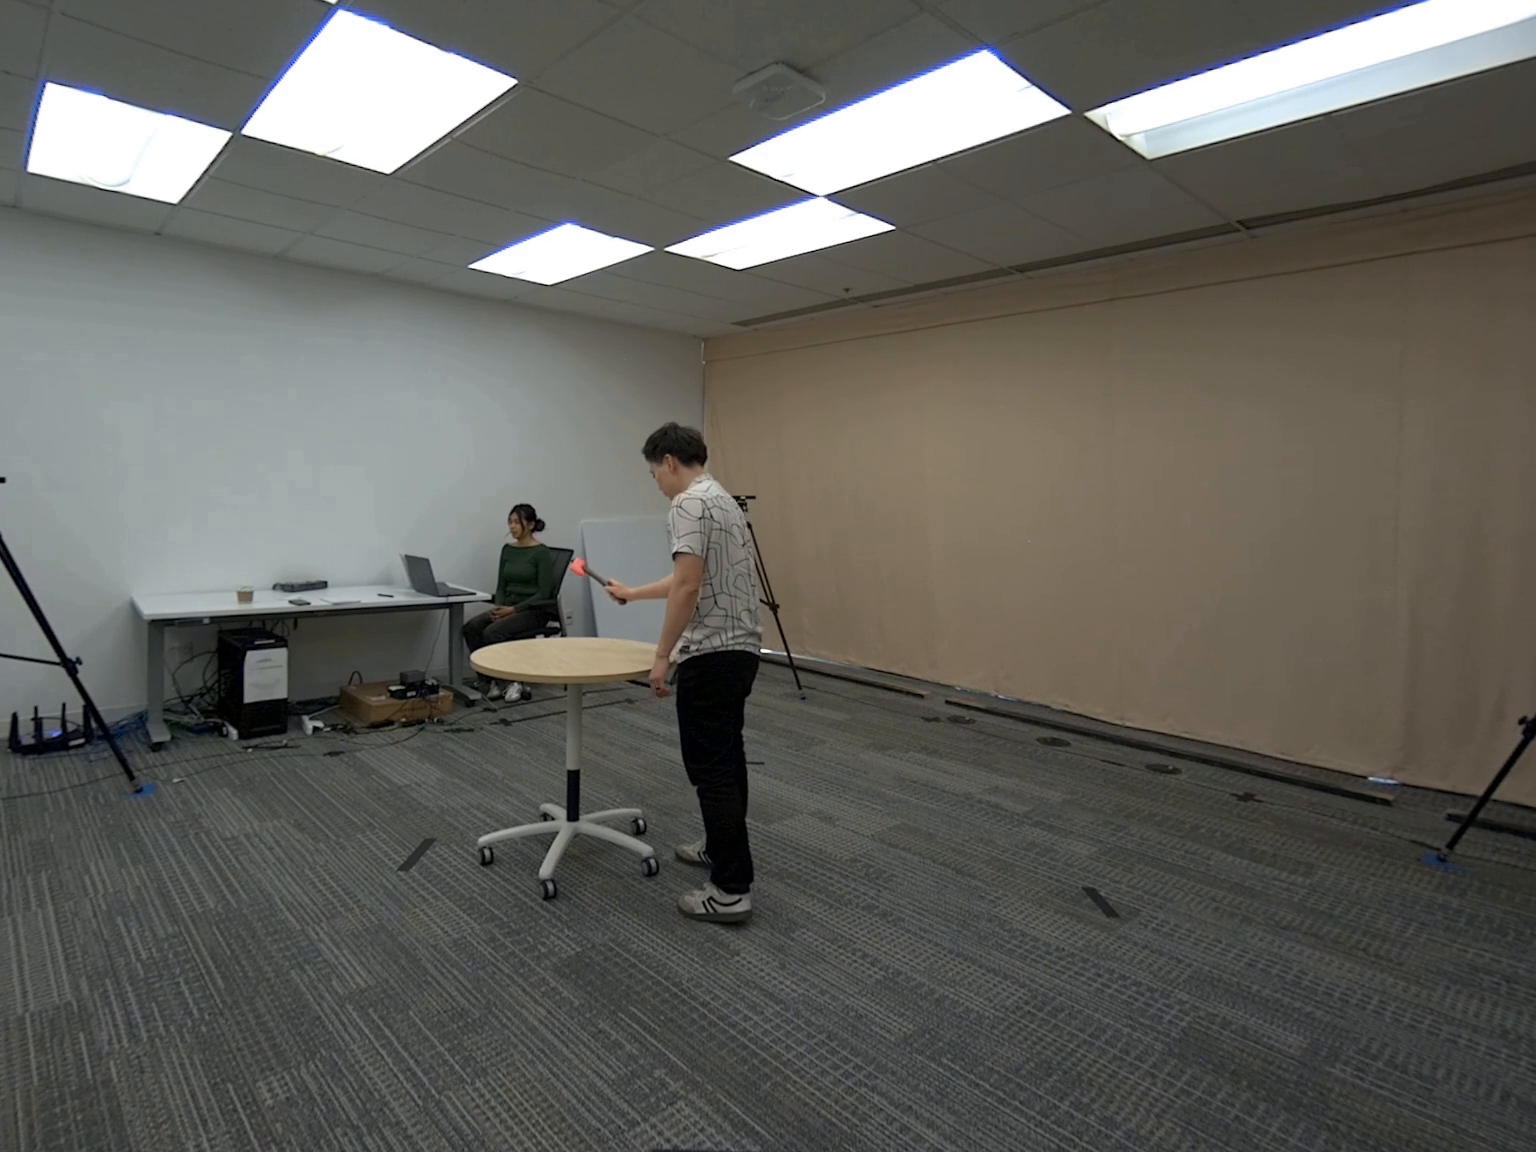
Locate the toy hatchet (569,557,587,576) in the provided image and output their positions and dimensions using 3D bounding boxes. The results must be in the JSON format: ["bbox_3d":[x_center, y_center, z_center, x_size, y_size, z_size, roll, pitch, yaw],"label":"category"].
[{"bbox_3d":[-0.671,0.024,3.280,0.275,0.029,0.129,43,21,19],"label":"toy hatchet"}]
